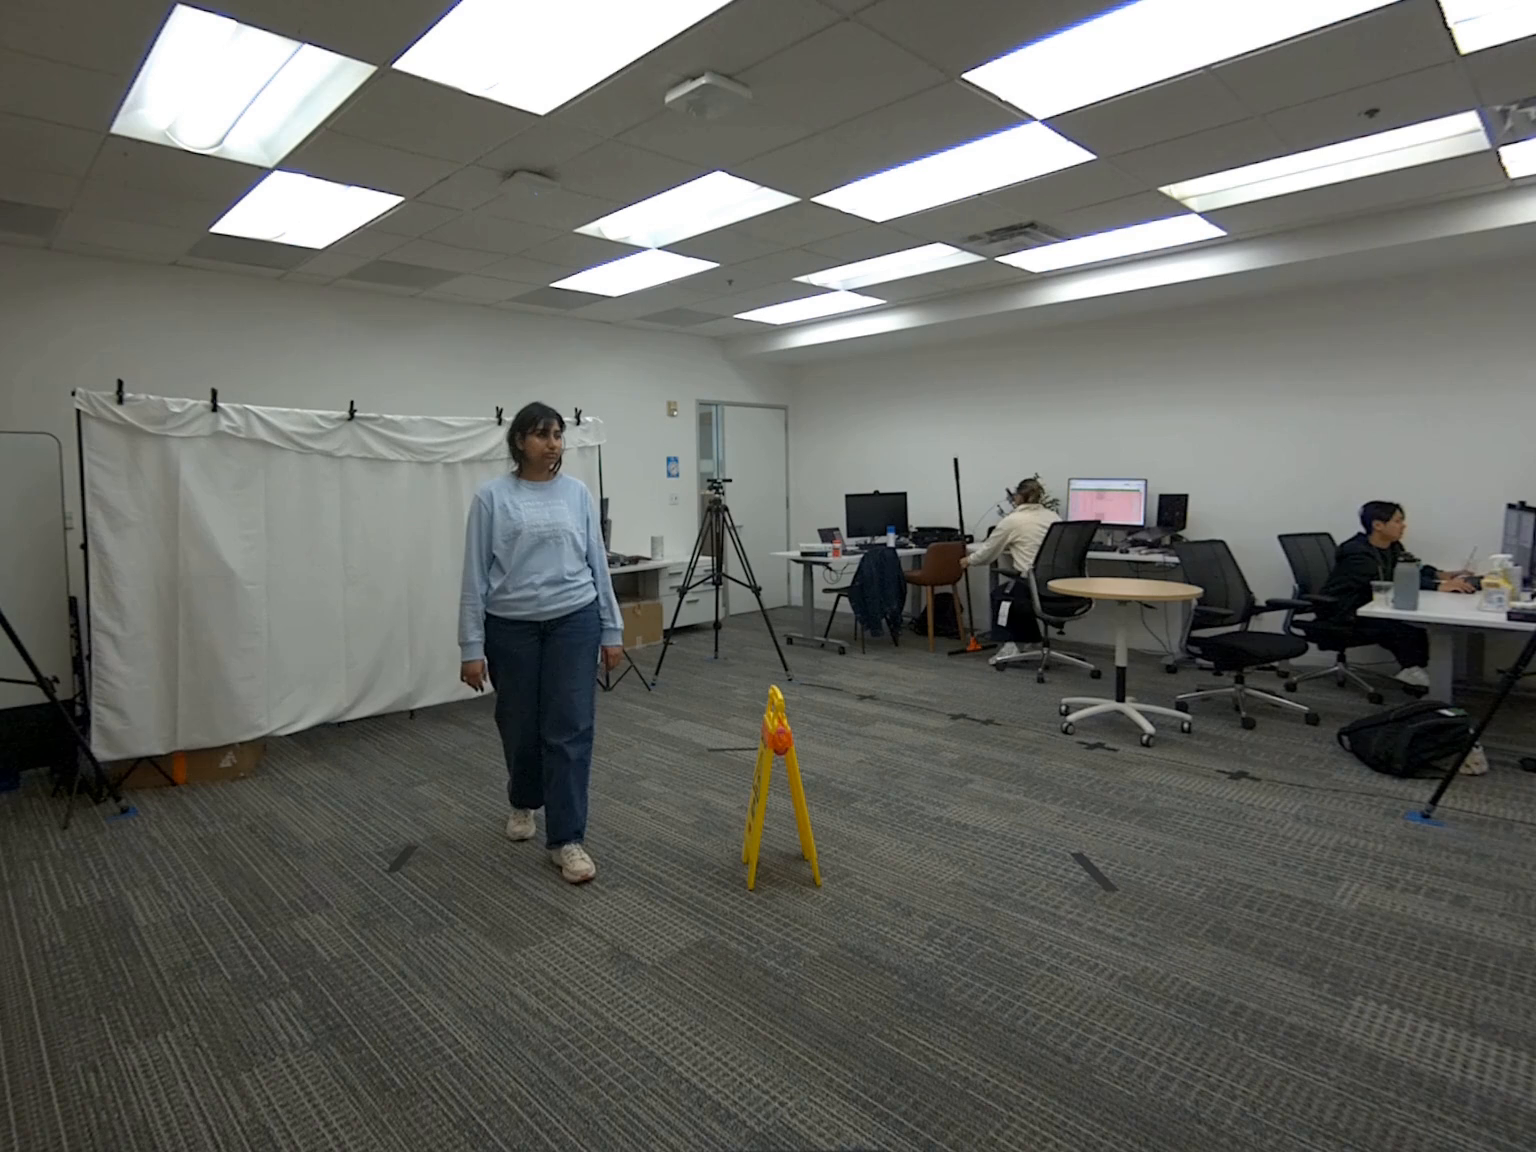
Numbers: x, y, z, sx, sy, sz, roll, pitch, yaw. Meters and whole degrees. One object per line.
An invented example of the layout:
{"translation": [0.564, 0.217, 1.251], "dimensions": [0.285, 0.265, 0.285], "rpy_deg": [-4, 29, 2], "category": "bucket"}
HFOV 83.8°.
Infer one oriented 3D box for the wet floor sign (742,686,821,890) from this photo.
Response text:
{"translation": [0.039, 0.731, 3.014], "dimensions": [0.289, 0.643, 0.284], "rpy_deg": [0, 5, -5], "category": "wet floor sign"}
